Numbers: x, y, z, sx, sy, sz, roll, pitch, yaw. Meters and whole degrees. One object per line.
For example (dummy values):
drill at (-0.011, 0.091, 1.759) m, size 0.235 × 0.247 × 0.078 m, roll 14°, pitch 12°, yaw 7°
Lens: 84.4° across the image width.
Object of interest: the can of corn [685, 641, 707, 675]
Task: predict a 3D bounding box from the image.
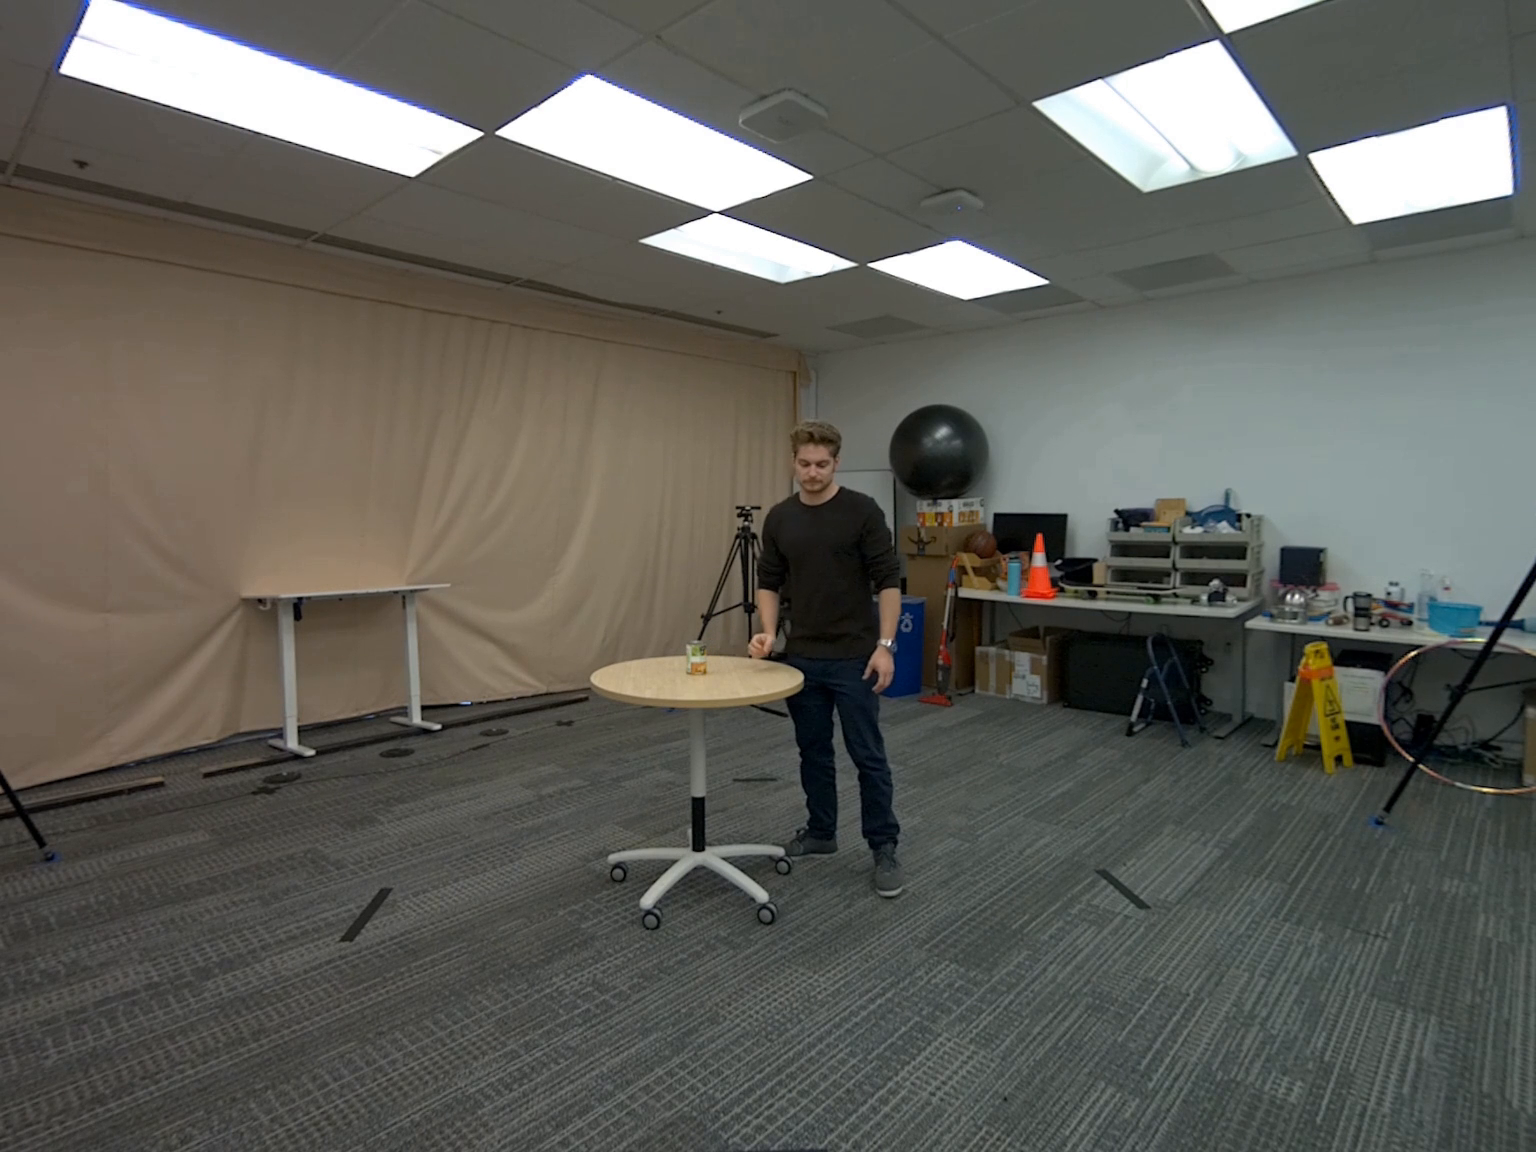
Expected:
can of corn at (-0.256, 0.301, 3.074) m, size 0.074 × 0.111 × 0.074 m, roll 1°, pitch 1°, yaw -2°
